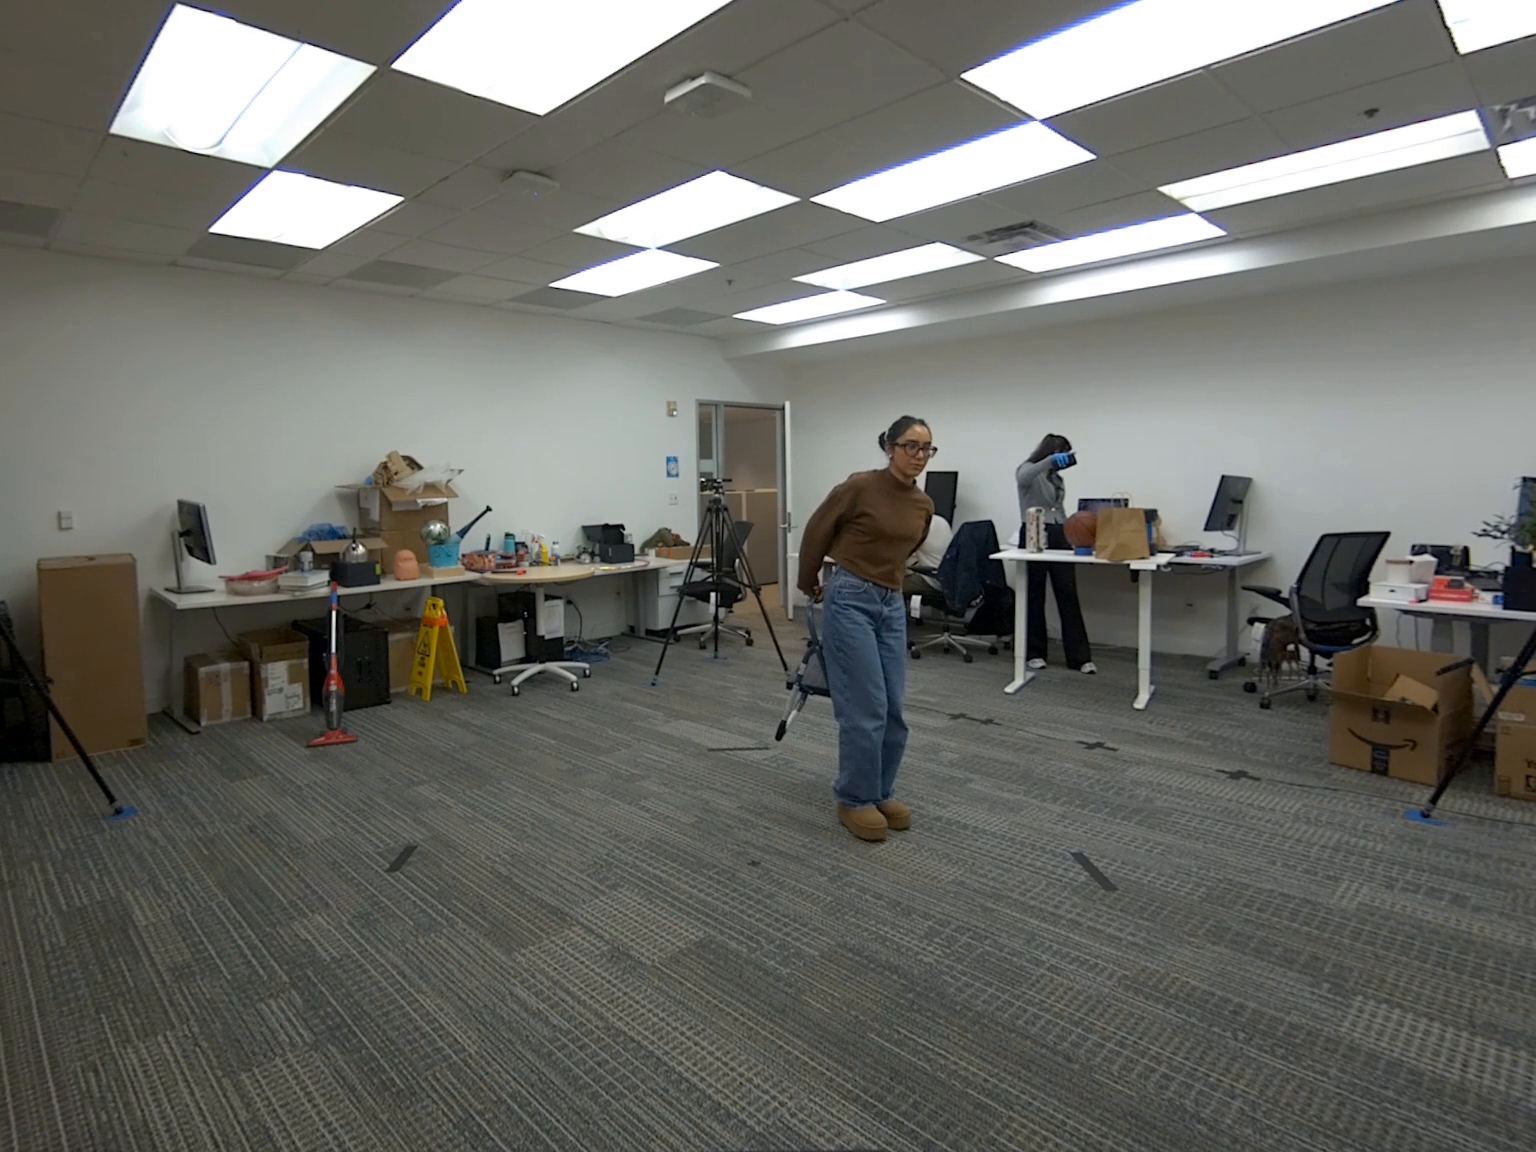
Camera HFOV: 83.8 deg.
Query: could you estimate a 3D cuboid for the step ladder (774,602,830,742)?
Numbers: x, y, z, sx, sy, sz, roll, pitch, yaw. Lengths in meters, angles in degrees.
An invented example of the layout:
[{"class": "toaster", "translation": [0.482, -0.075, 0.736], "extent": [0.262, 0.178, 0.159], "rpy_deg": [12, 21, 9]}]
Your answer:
[{"class": "step ladder", "translation": [0.259, 0.383, 3.684], "extent": [0.354, 0.601, 0.428], "rpy_deg": [6, 11, 13]}]
